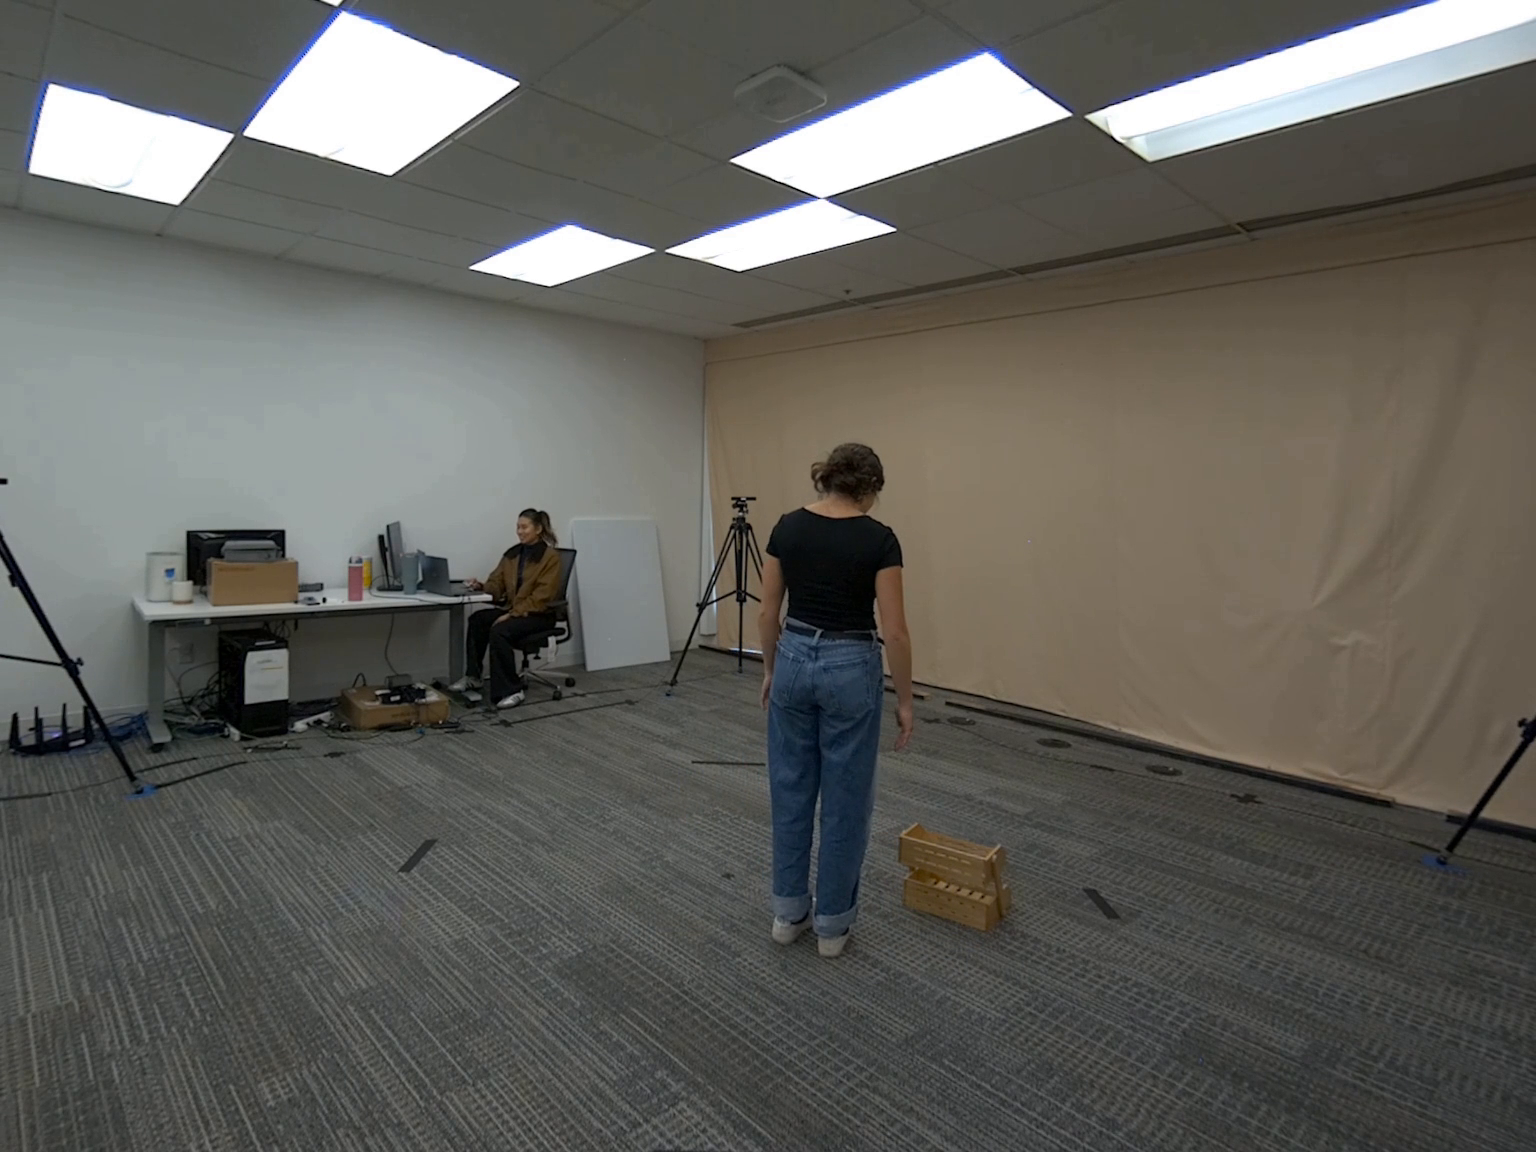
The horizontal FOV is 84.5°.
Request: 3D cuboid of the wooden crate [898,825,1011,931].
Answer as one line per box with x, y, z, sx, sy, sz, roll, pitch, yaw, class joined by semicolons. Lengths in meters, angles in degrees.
0.644;1.012;2.899;0.332;0.272;0.296;5;6;34;wooden crate
